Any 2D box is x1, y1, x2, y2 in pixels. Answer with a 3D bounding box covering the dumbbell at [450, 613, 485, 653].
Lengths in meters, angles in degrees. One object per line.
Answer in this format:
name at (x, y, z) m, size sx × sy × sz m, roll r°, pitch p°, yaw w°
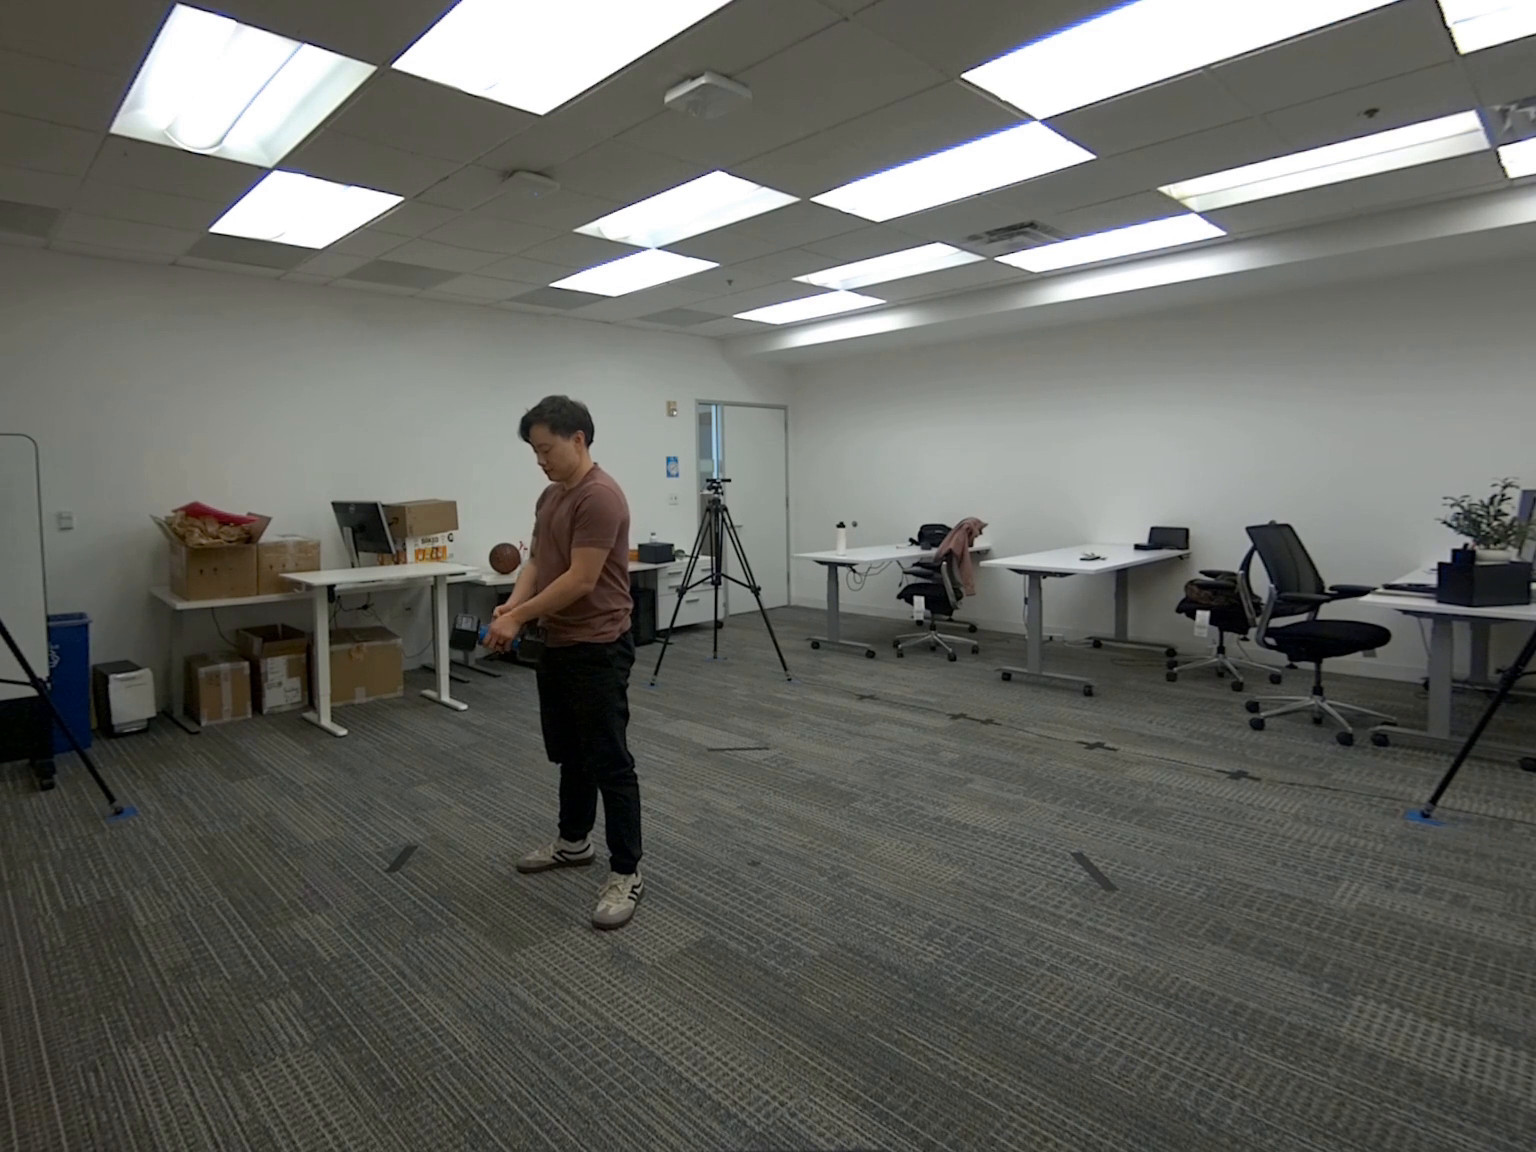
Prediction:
dumbbell at (-0.846, 0.198, 2.699) m, size 0.288 × 0.107 × 0.127 m, roll 11°, pitch 43°, yaw -19°
